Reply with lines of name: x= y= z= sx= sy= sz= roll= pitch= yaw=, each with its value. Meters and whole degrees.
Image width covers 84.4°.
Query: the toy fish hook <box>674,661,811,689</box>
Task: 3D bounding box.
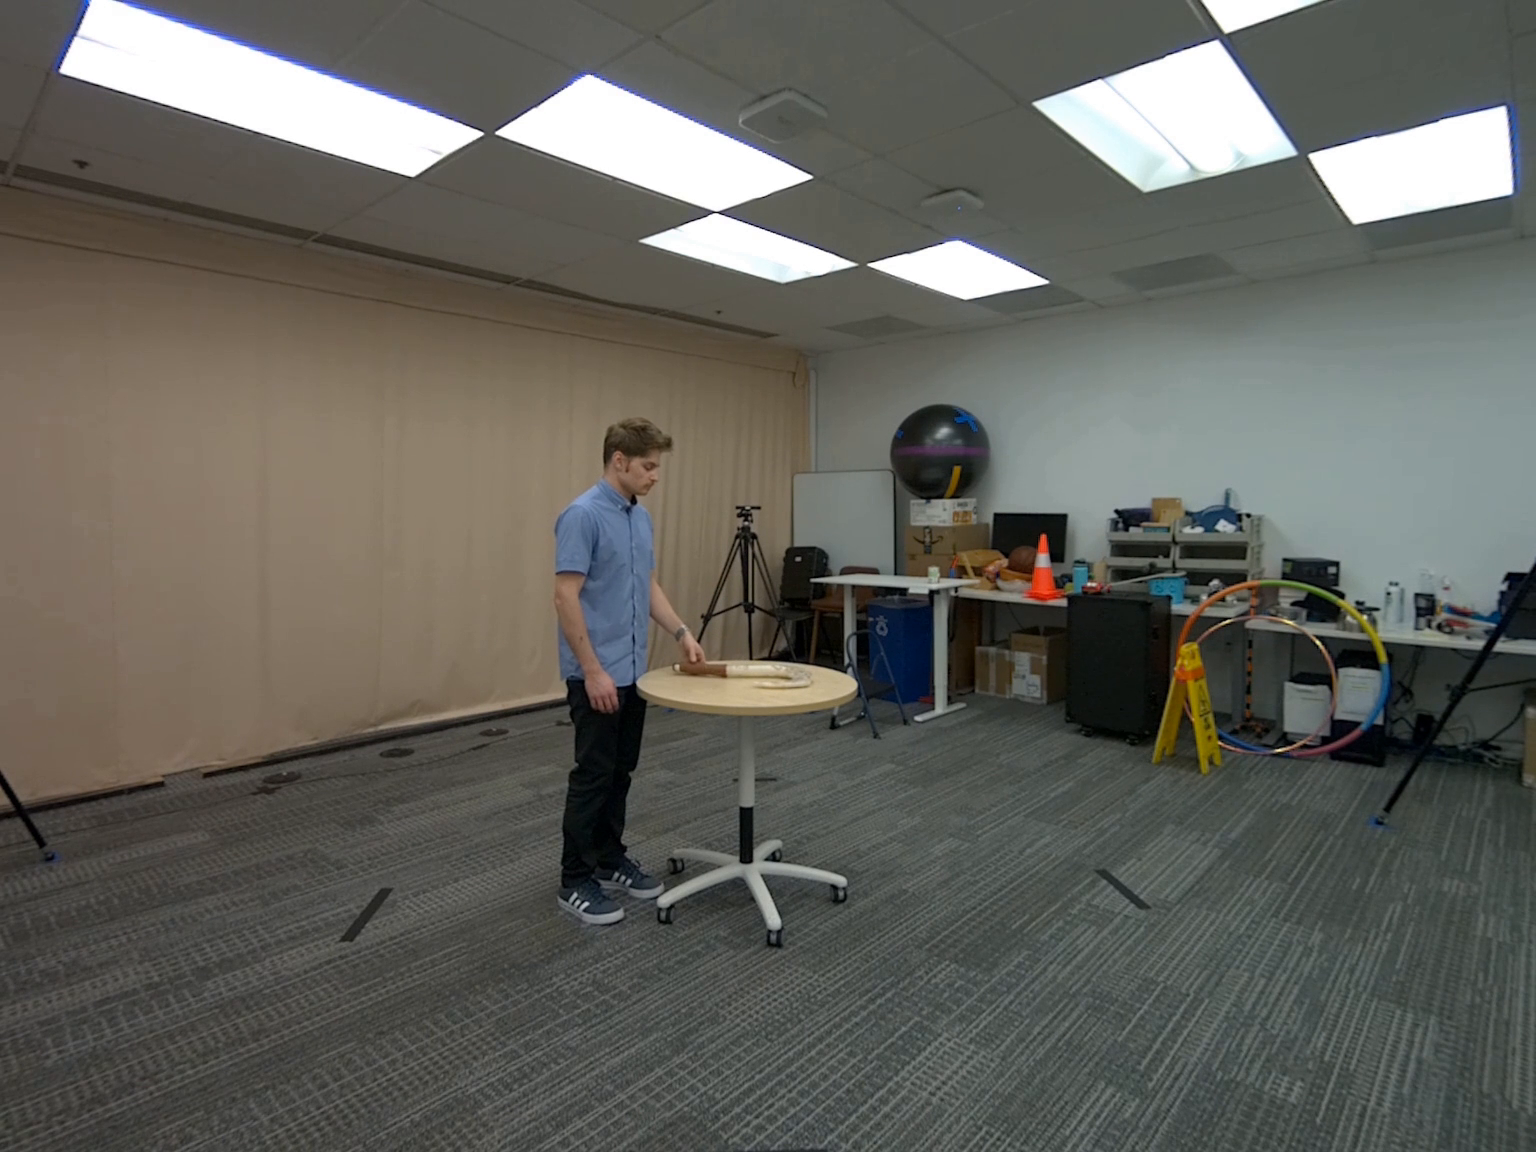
toy fish hook: x=-0.097 y=0.341 z=2.922 sx=0.512 sy=0.048 sz=0.222 roll=1 pitch=0 yaw=10
